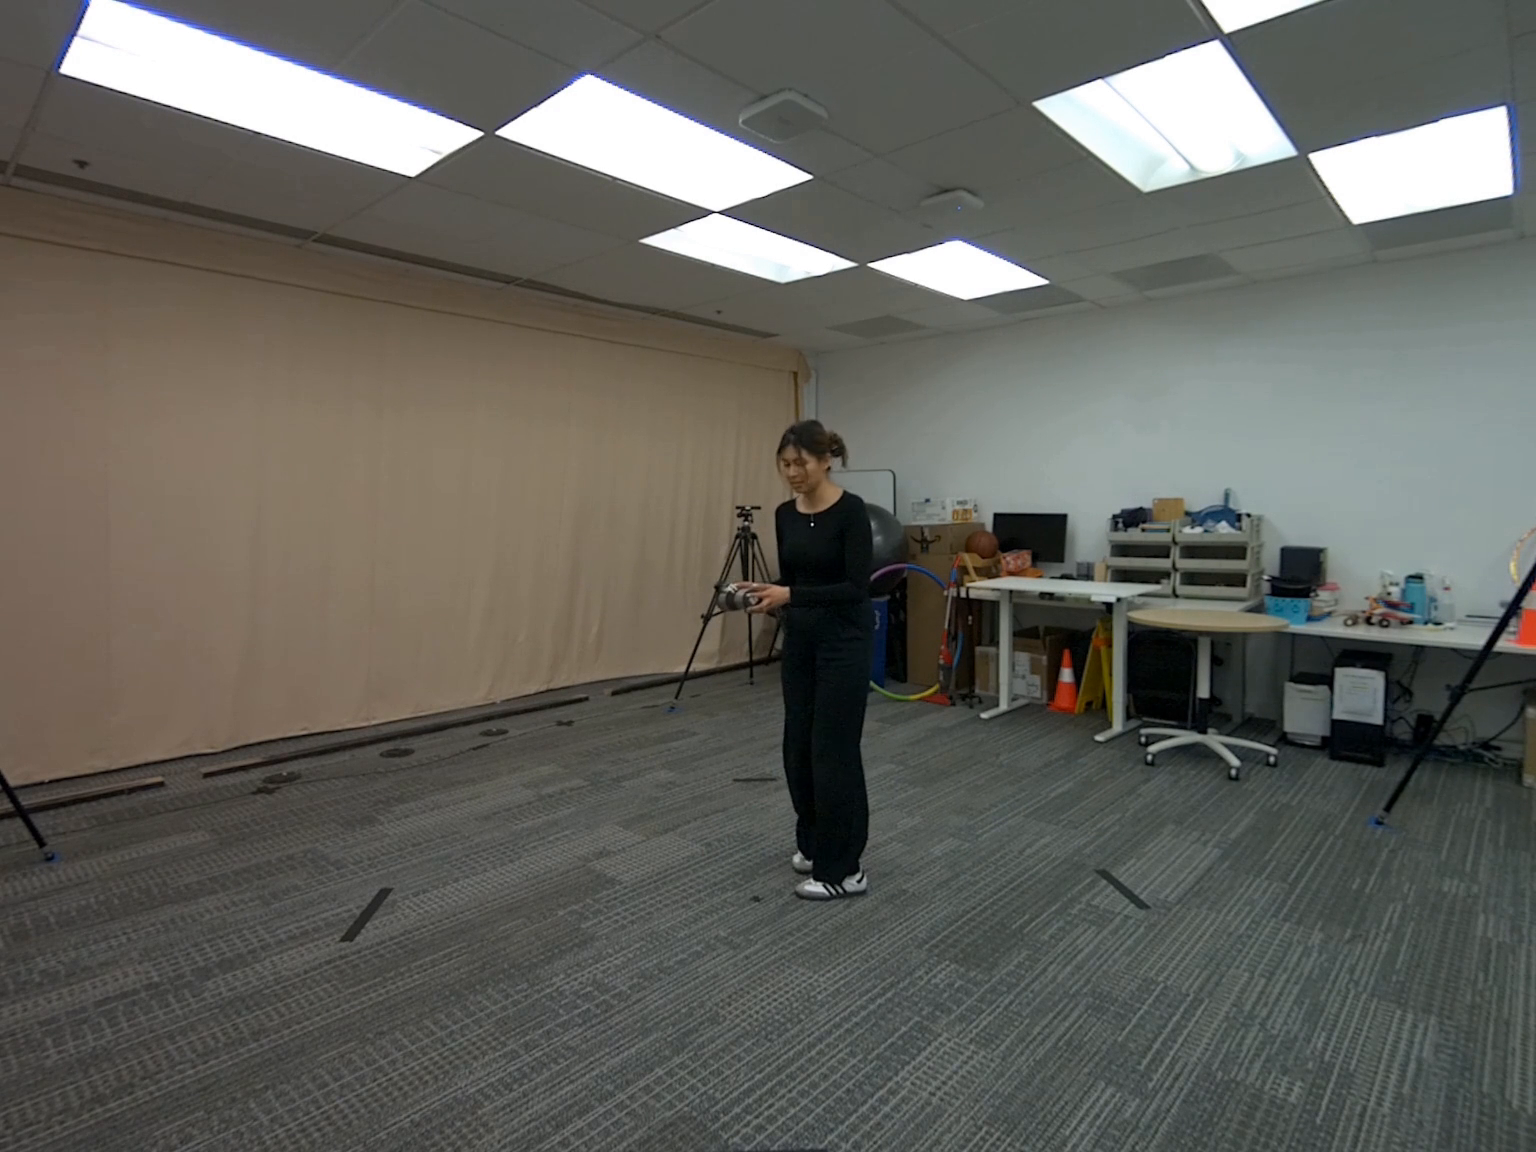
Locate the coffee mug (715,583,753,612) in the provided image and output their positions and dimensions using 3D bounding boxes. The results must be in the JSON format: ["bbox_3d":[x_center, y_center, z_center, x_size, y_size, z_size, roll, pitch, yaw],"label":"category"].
[{"bbox_3d":[-0.107,0.090,2.915,0.119,0.088,0.208,23,-9,-24],"label":"coffee mug"}]
